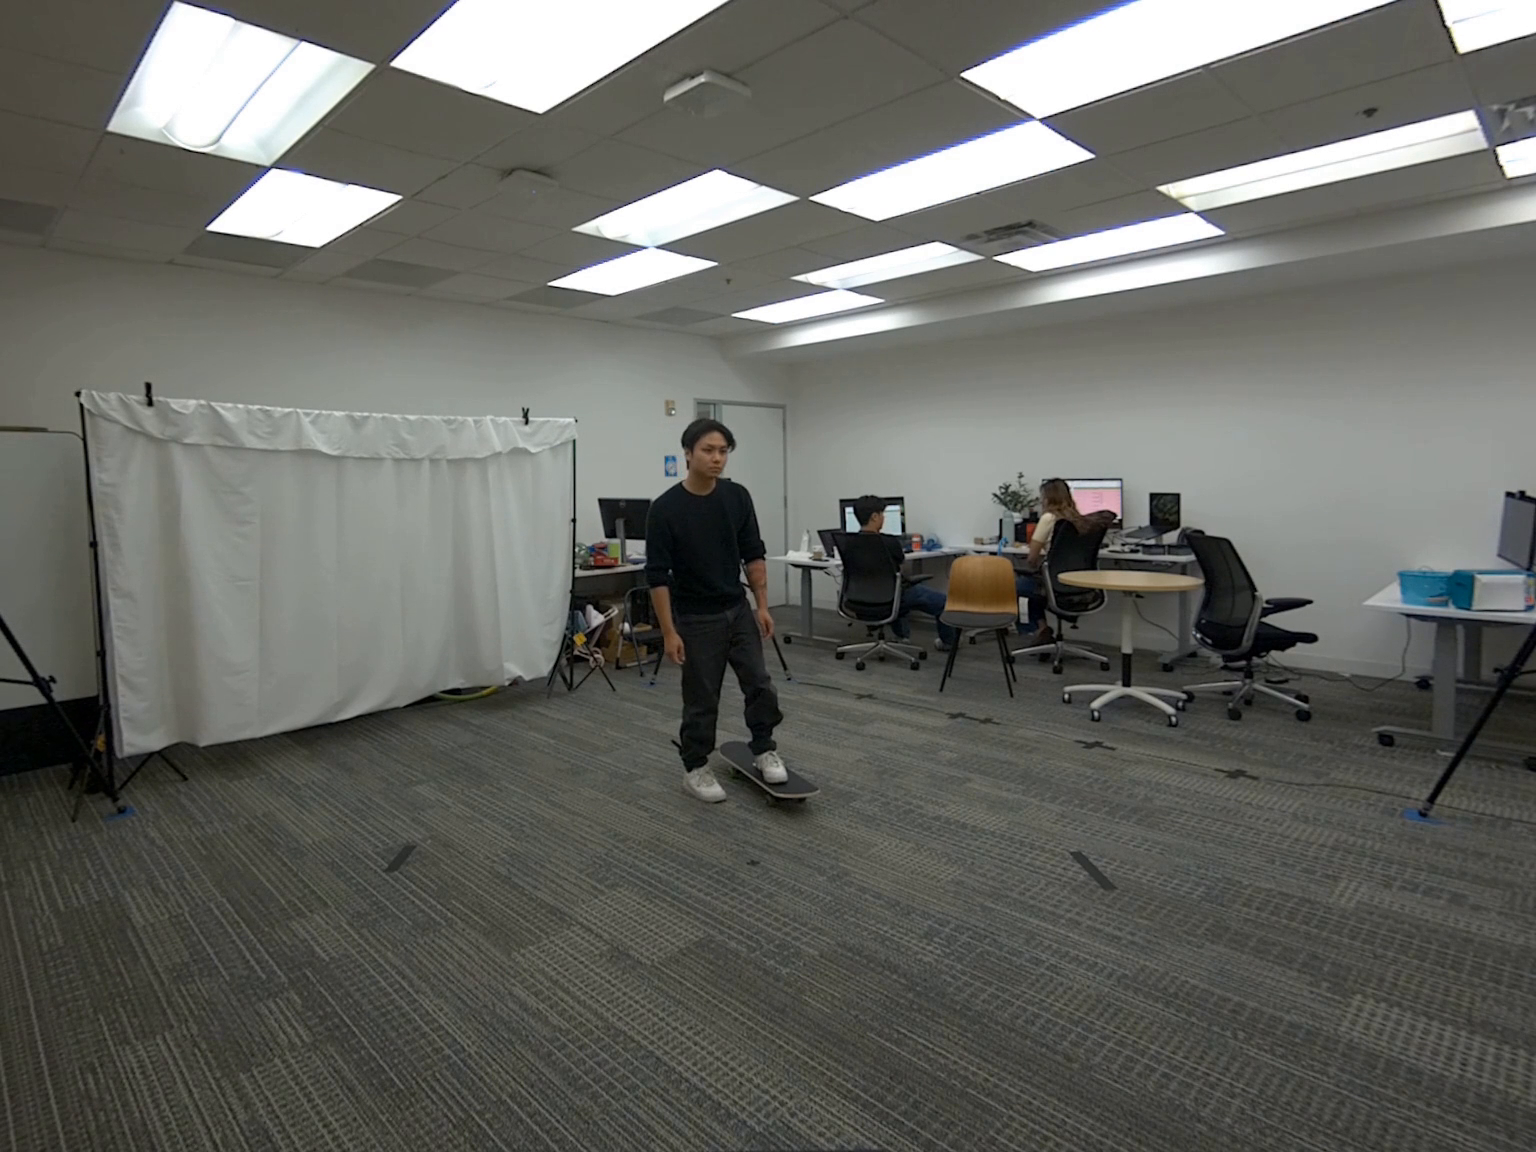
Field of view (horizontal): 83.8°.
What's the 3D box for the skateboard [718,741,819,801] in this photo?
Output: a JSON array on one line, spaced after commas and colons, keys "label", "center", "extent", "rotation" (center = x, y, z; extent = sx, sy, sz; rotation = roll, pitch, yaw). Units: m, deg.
[{"label": "skateboard", "center": [-0.010, 0.903, 3.842], "extent": [0.189, 0.110, 0.805], "rotation": [-4, 7, -25]}]
